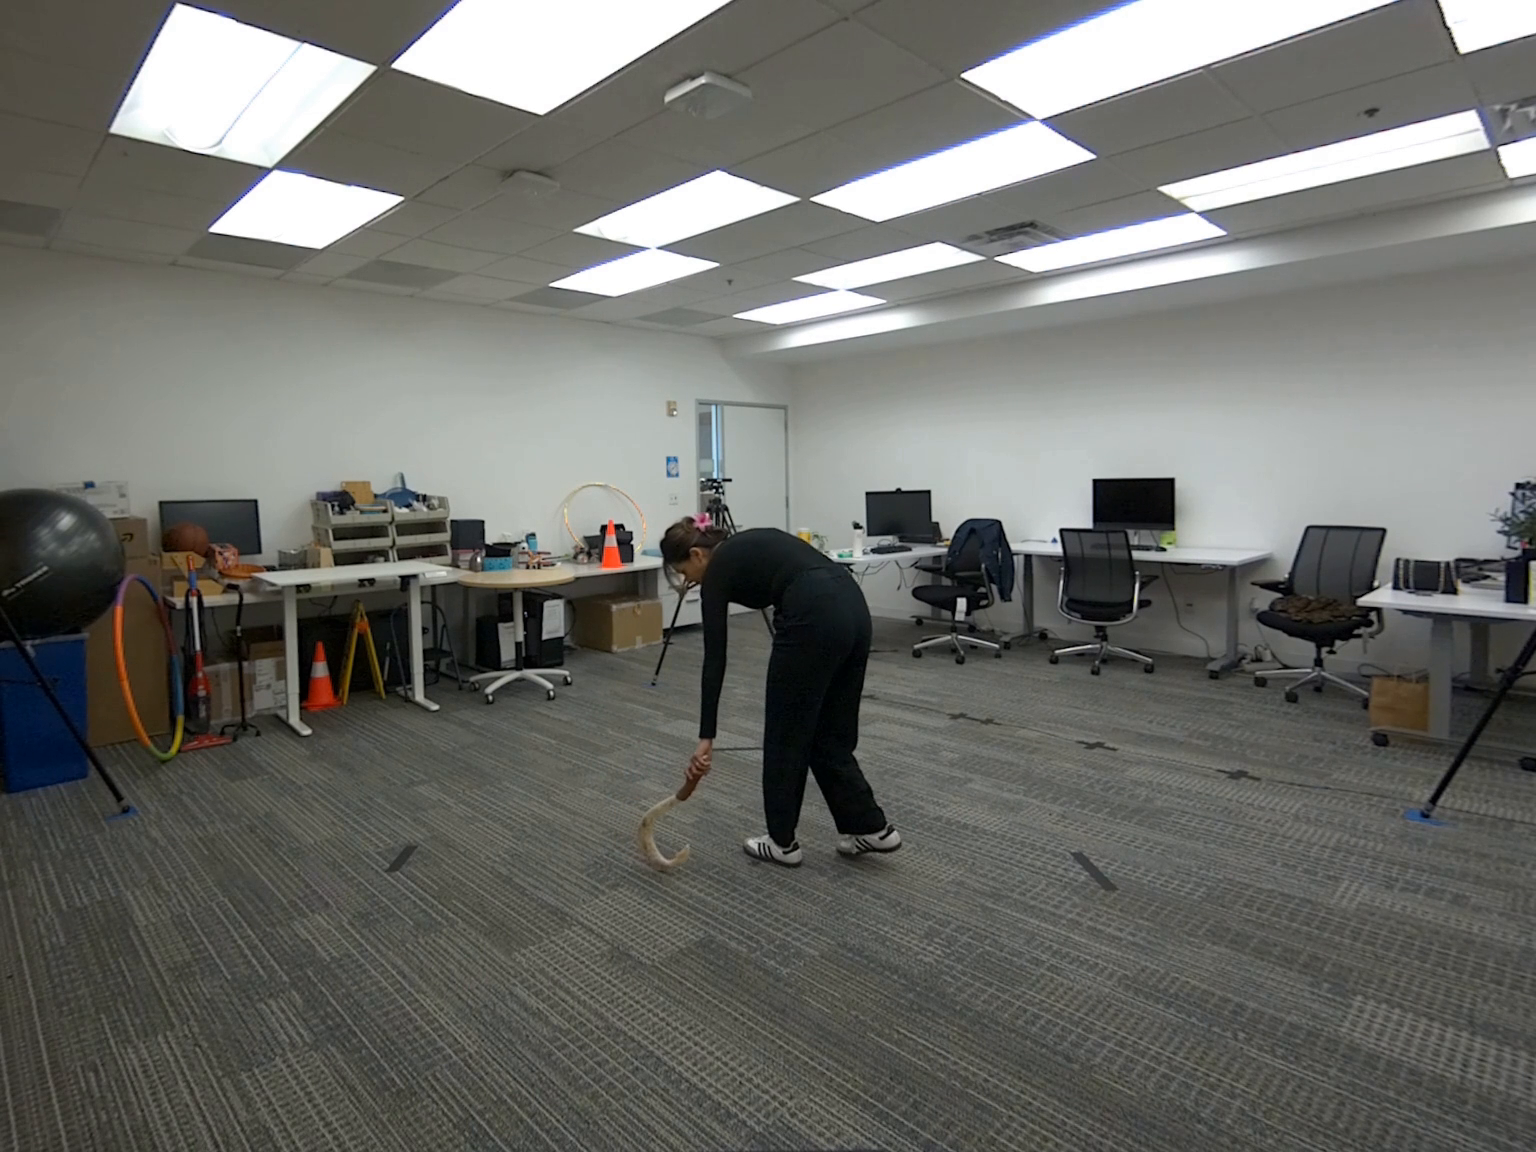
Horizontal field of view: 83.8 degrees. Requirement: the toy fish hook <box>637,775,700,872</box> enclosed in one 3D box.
[{"bbox_3d":[-0.297,0.840,2.988,0.231,0.504,0.047,45,27,21],"label":"toy fish hook"}]
